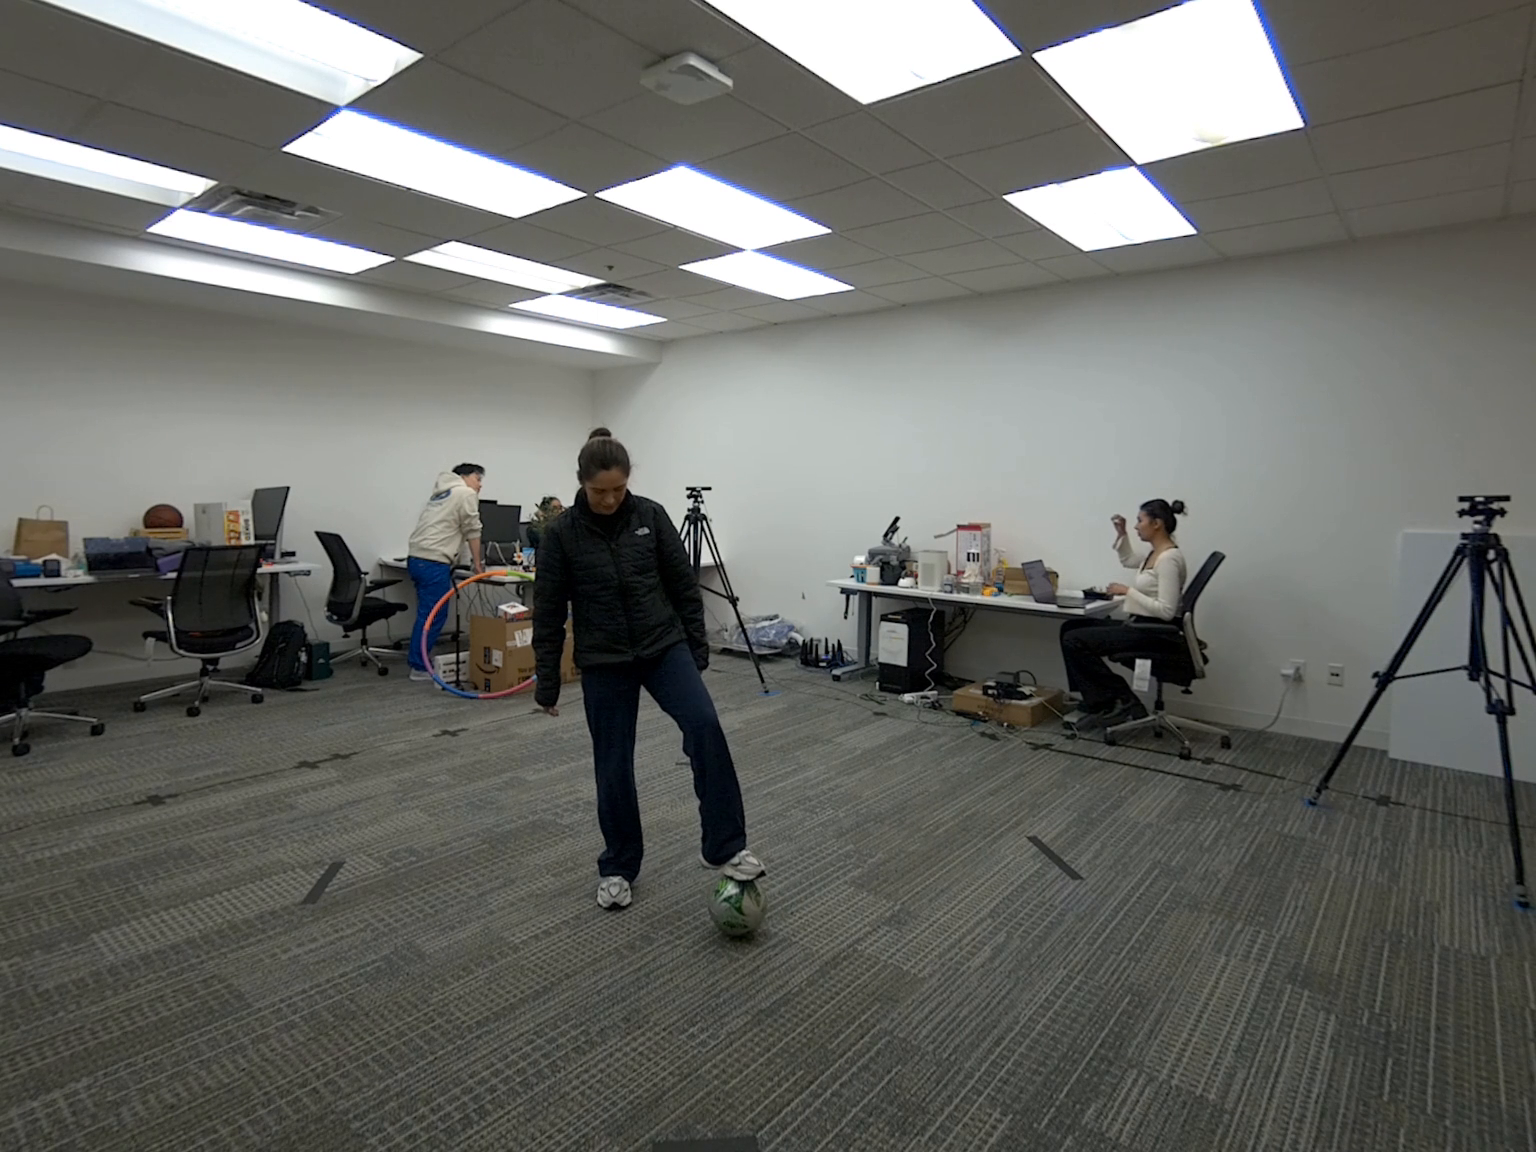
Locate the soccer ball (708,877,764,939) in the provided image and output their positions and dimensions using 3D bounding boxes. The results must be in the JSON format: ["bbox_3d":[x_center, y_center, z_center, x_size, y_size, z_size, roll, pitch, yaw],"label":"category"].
[{"bbox_3d":[-0.108,1.018,2.652,0.187,0.187,0.188,1,4,-2],"label":"soccer ball"}]
